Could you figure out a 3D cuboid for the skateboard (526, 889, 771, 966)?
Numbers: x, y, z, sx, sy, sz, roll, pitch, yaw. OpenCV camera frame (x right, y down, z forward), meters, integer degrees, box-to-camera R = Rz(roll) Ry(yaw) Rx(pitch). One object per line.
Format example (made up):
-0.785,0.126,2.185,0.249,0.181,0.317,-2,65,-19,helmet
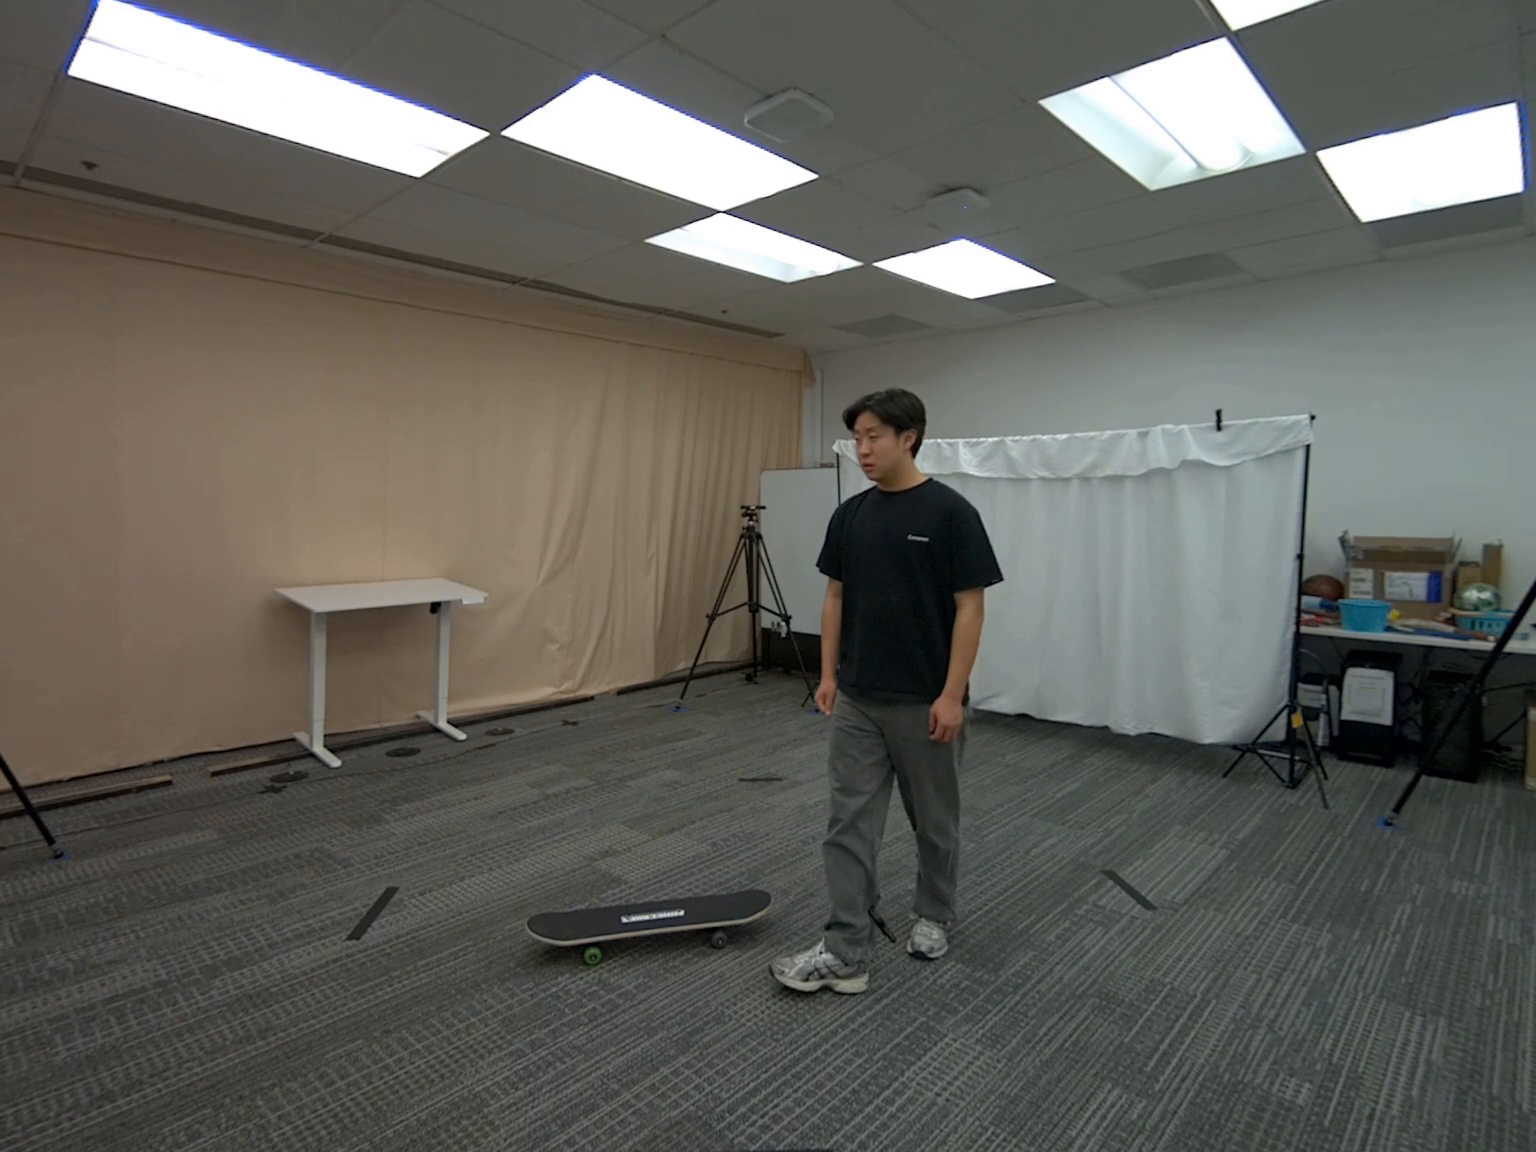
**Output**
-0.365,1.117,2.676,0.775,0.110,0.196,-1,5,-13,skateboard
